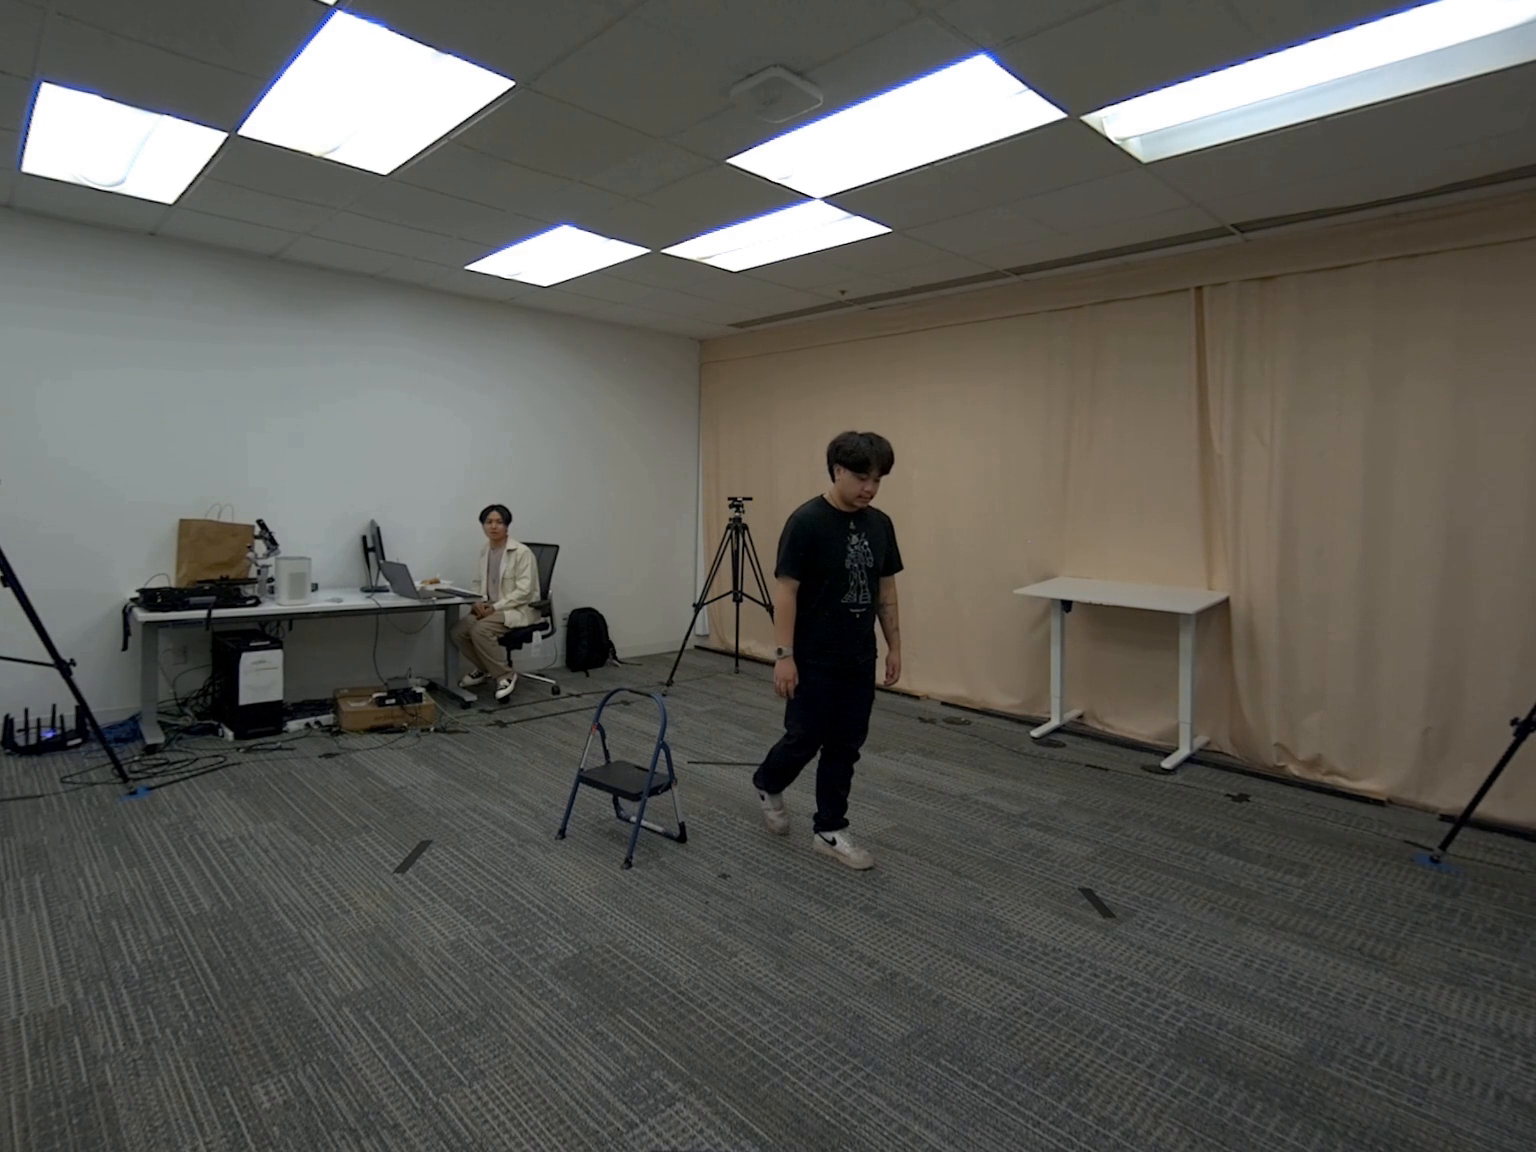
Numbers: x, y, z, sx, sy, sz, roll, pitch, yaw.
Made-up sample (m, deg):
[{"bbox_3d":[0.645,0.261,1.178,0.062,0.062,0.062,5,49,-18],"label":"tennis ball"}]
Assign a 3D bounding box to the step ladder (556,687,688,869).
[{"bbox_3d":[-0.587,0.765,3.385,0.441,0.604,0.341,5,5,38],"label":"step ladder"}]
